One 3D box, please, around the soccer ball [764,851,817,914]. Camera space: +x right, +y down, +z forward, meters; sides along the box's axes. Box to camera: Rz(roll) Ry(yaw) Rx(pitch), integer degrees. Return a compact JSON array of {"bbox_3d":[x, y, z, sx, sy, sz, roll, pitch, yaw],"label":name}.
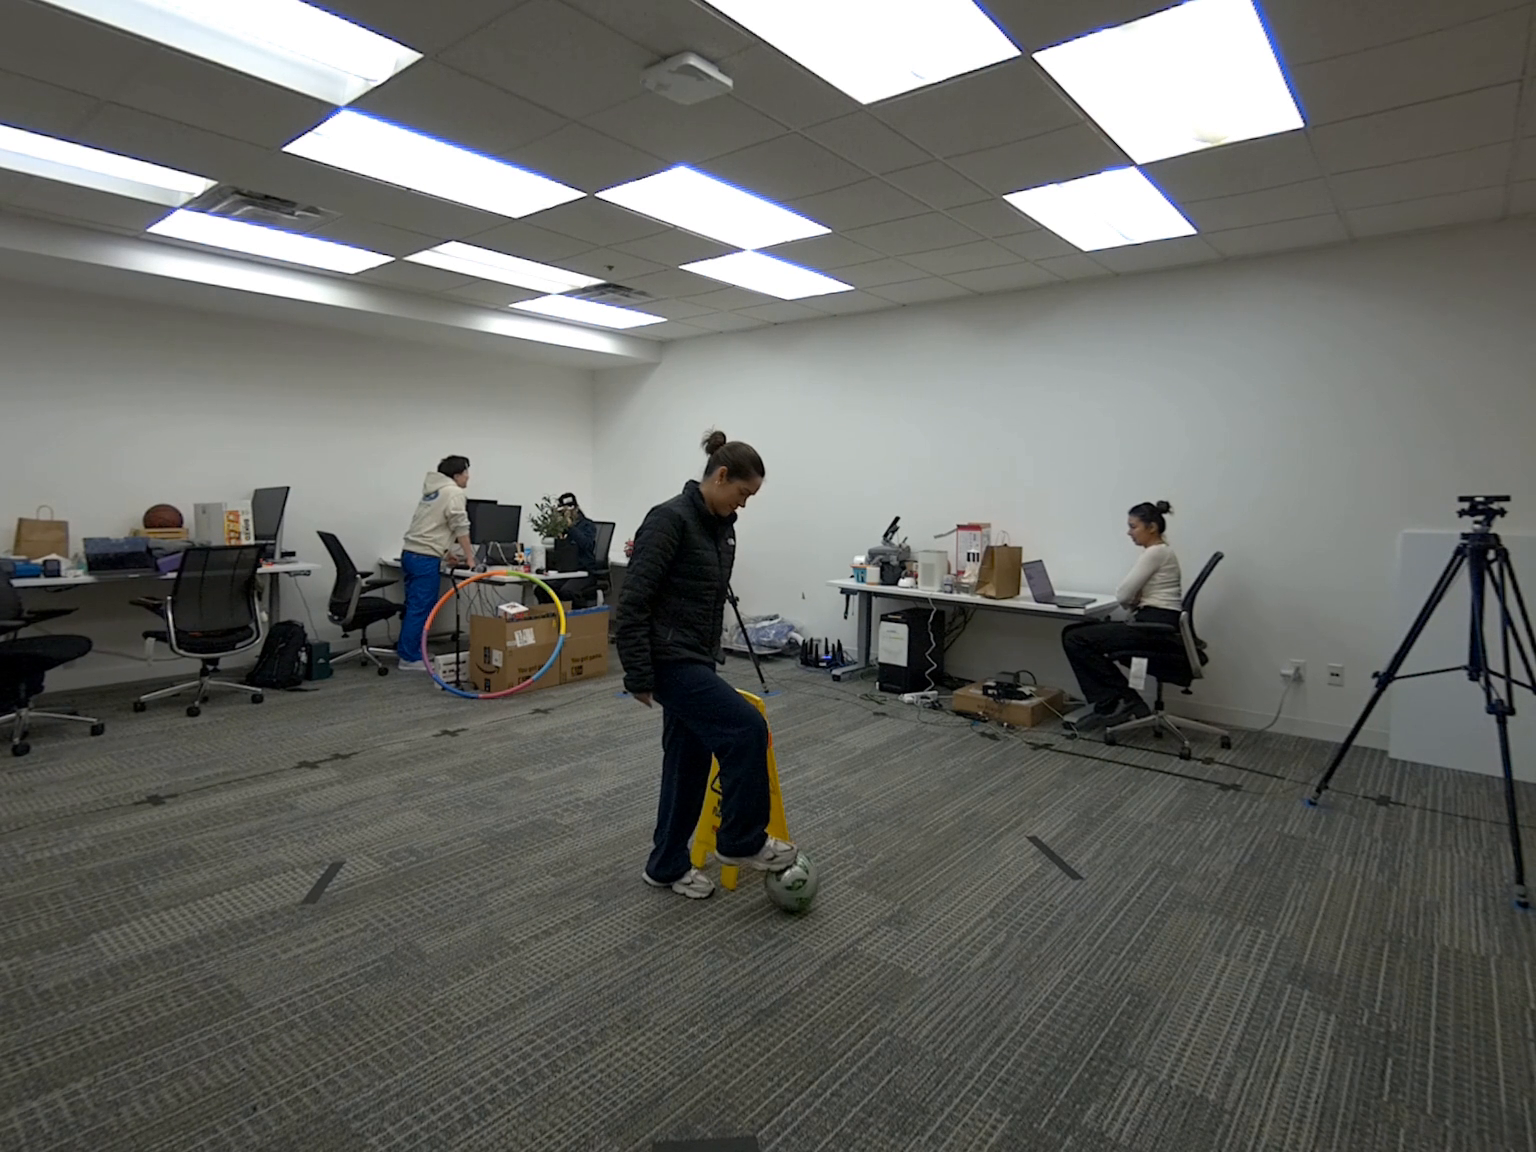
[{"bbox_3d":[0.067,1.012,2.817,0.187,0.187,0.188,1,4,-2],"label":"soccer ball"}]
